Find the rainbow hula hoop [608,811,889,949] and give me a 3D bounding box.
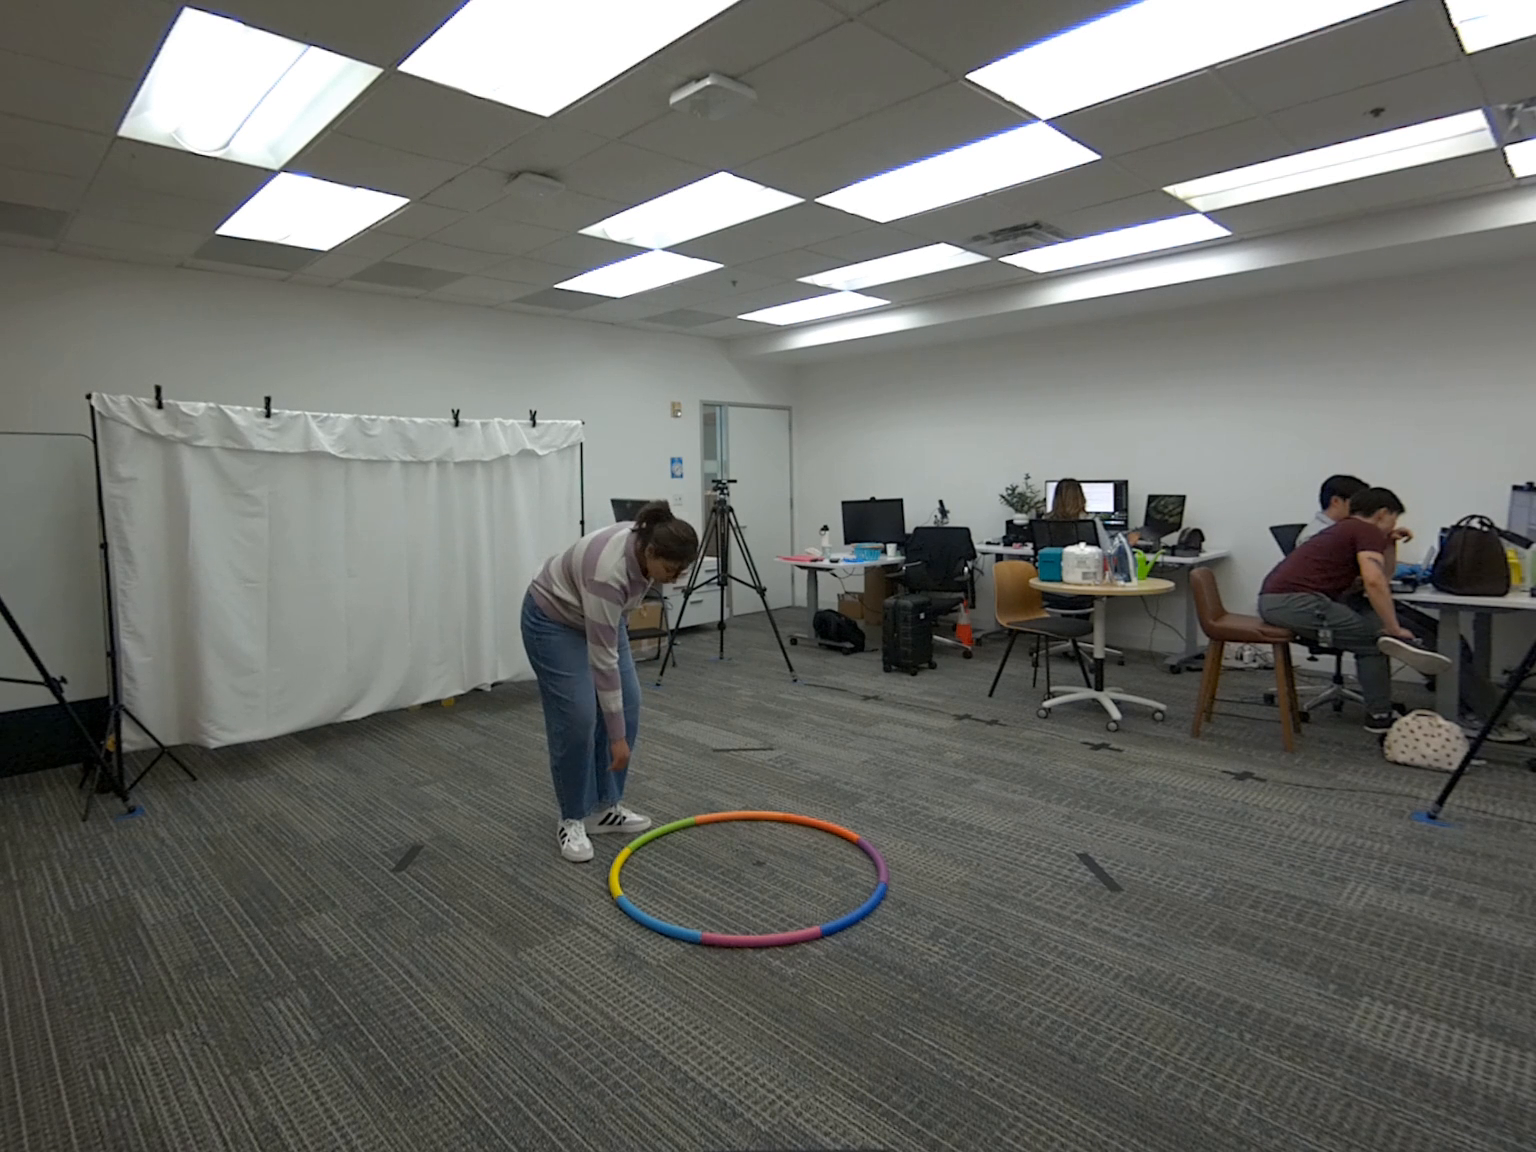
[{"bbox_3d":[-0.071,1.023,3.033,0.978,0.035,0.984,-1,7,-2],"label":"rainbow hula hoop"}]
